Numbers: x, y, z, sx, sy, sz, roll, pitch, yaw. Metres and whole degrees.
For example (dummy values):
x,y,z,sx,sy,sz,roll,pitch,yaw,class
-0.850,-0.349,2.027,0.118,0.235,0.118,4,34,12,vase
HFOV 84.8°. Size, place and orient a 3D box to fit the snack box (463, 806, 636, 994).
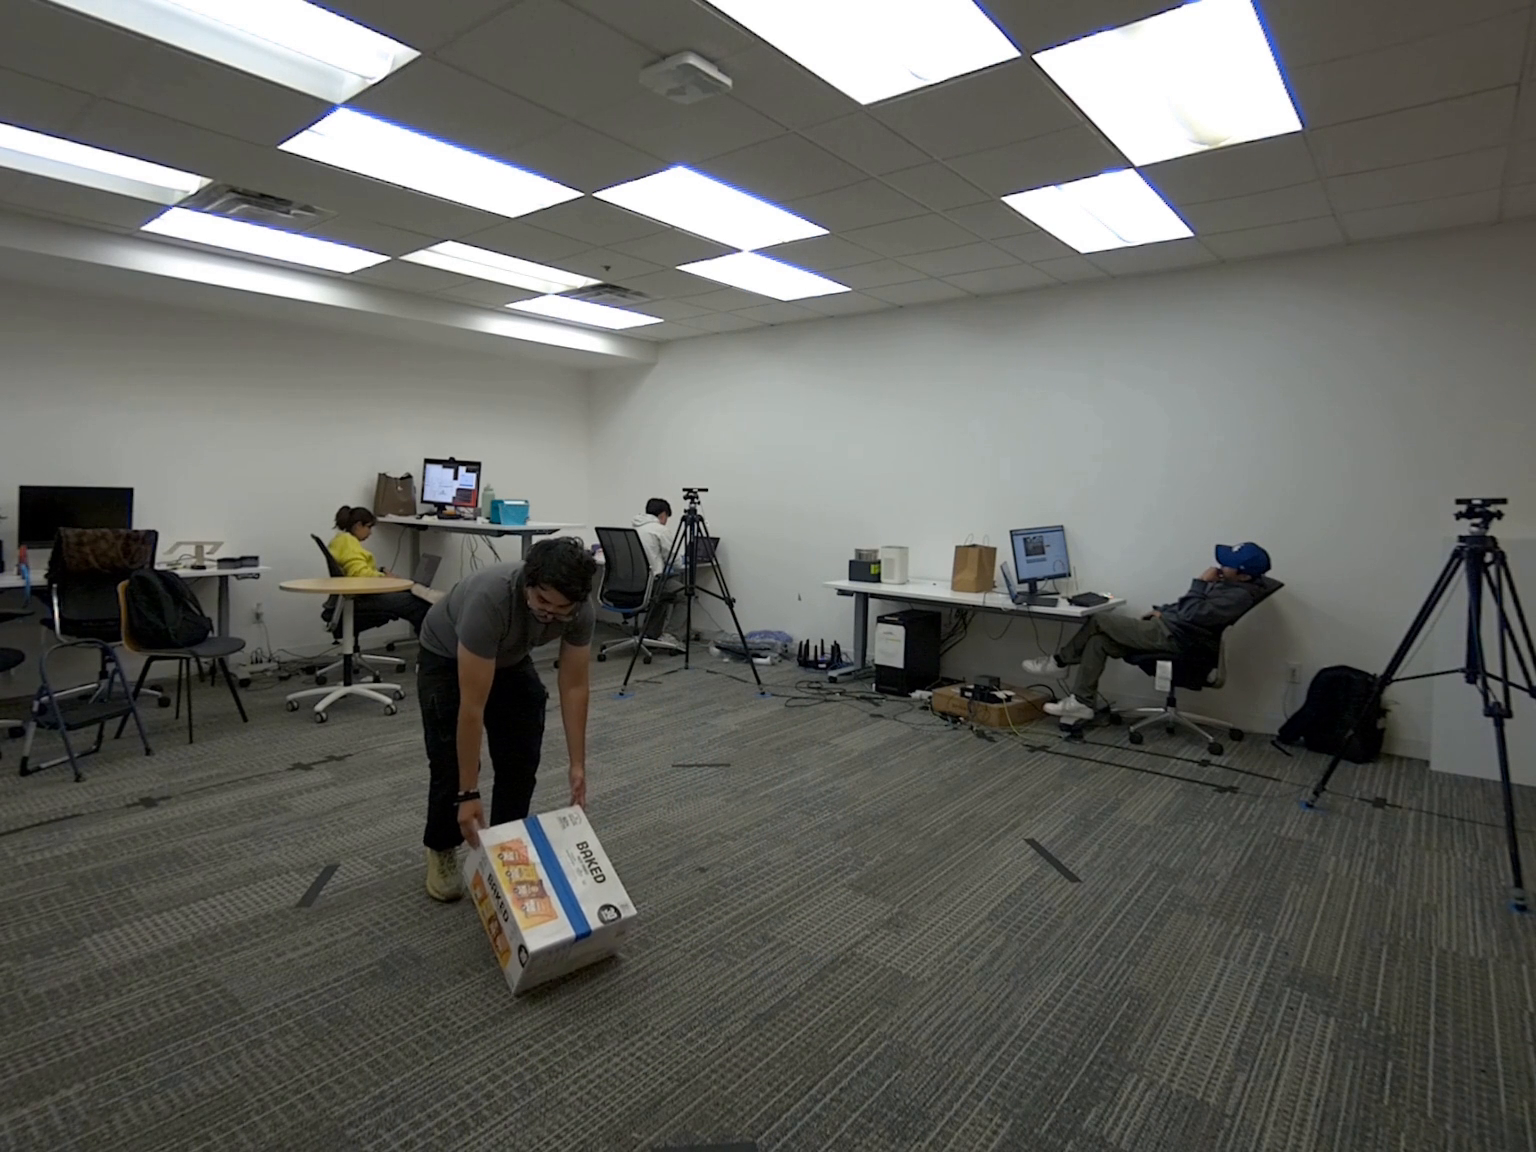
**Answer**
x,y,z,sx,sy,sz,roll,pitch,yaw,class
-0.660,0.930,2.499,0.330,0.203,0.422,-4,40,-40,snack box
